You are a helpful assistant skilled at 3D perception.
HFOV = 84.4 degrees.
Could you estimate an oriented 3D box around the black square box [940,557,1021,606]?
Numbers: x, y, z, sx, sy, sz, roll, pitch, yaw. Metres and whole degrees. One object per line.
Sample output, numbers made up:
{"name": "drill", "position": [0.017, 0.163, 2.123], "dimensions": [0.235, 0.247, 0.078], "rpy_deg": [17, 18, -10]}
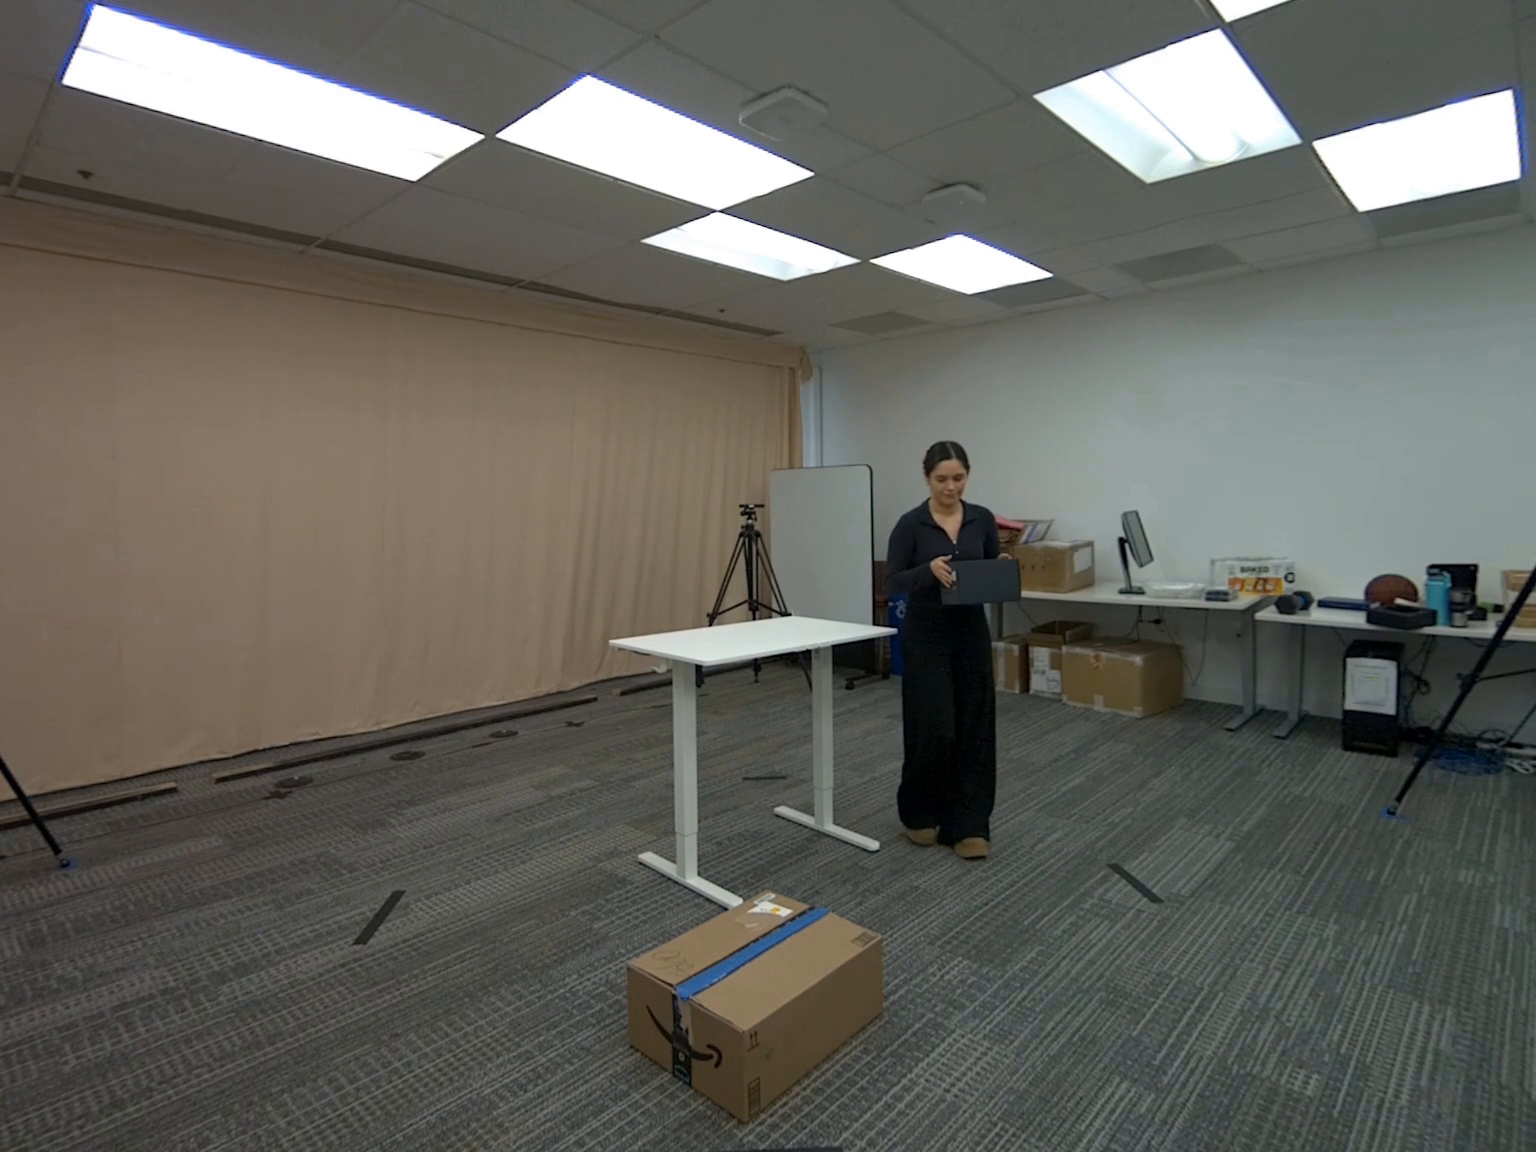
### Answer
{"name": "black square box", "position": [0.774, 0.020, 3.114], "dimensions": [0.227, 0.156, 0.217], "rpy_deg": [-3, 0, -4]}
